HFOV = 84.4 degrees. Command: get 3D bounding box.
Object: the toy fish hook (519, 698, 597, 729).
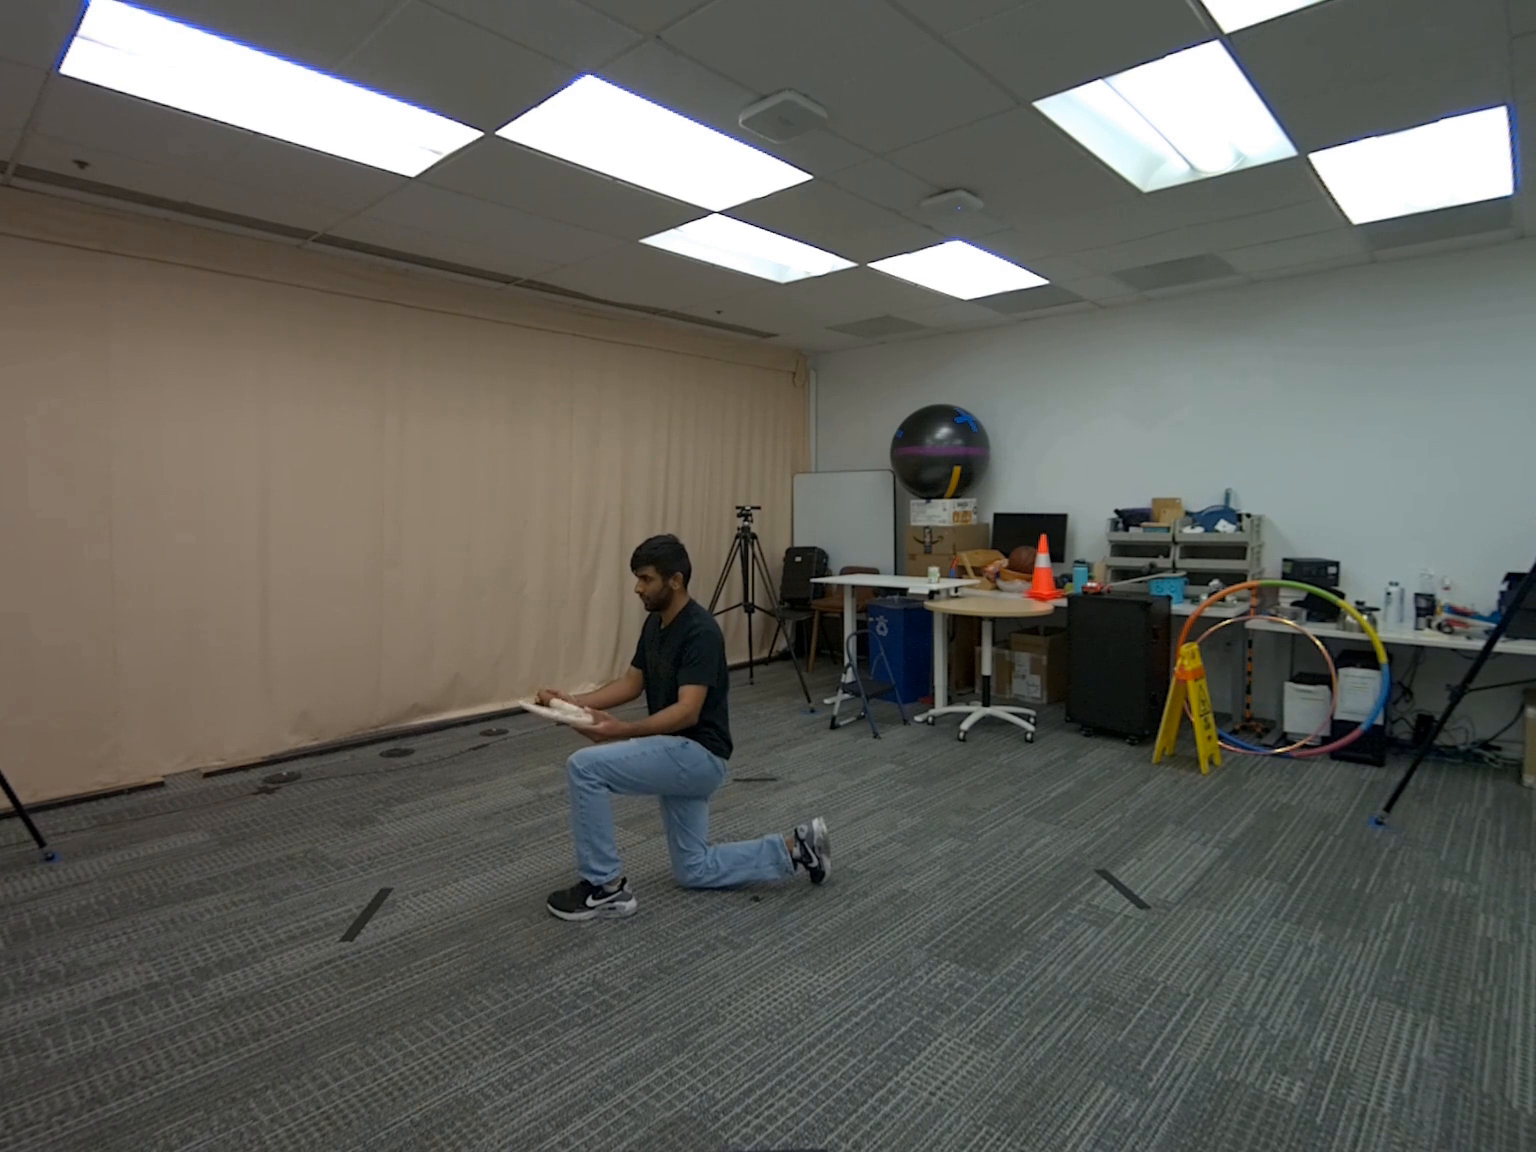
[{"bbox_3d":[-0.701,0.405,2.689,0.219,0.048,0.519,23,-8,-25],"label":"toy fish hook"}]
